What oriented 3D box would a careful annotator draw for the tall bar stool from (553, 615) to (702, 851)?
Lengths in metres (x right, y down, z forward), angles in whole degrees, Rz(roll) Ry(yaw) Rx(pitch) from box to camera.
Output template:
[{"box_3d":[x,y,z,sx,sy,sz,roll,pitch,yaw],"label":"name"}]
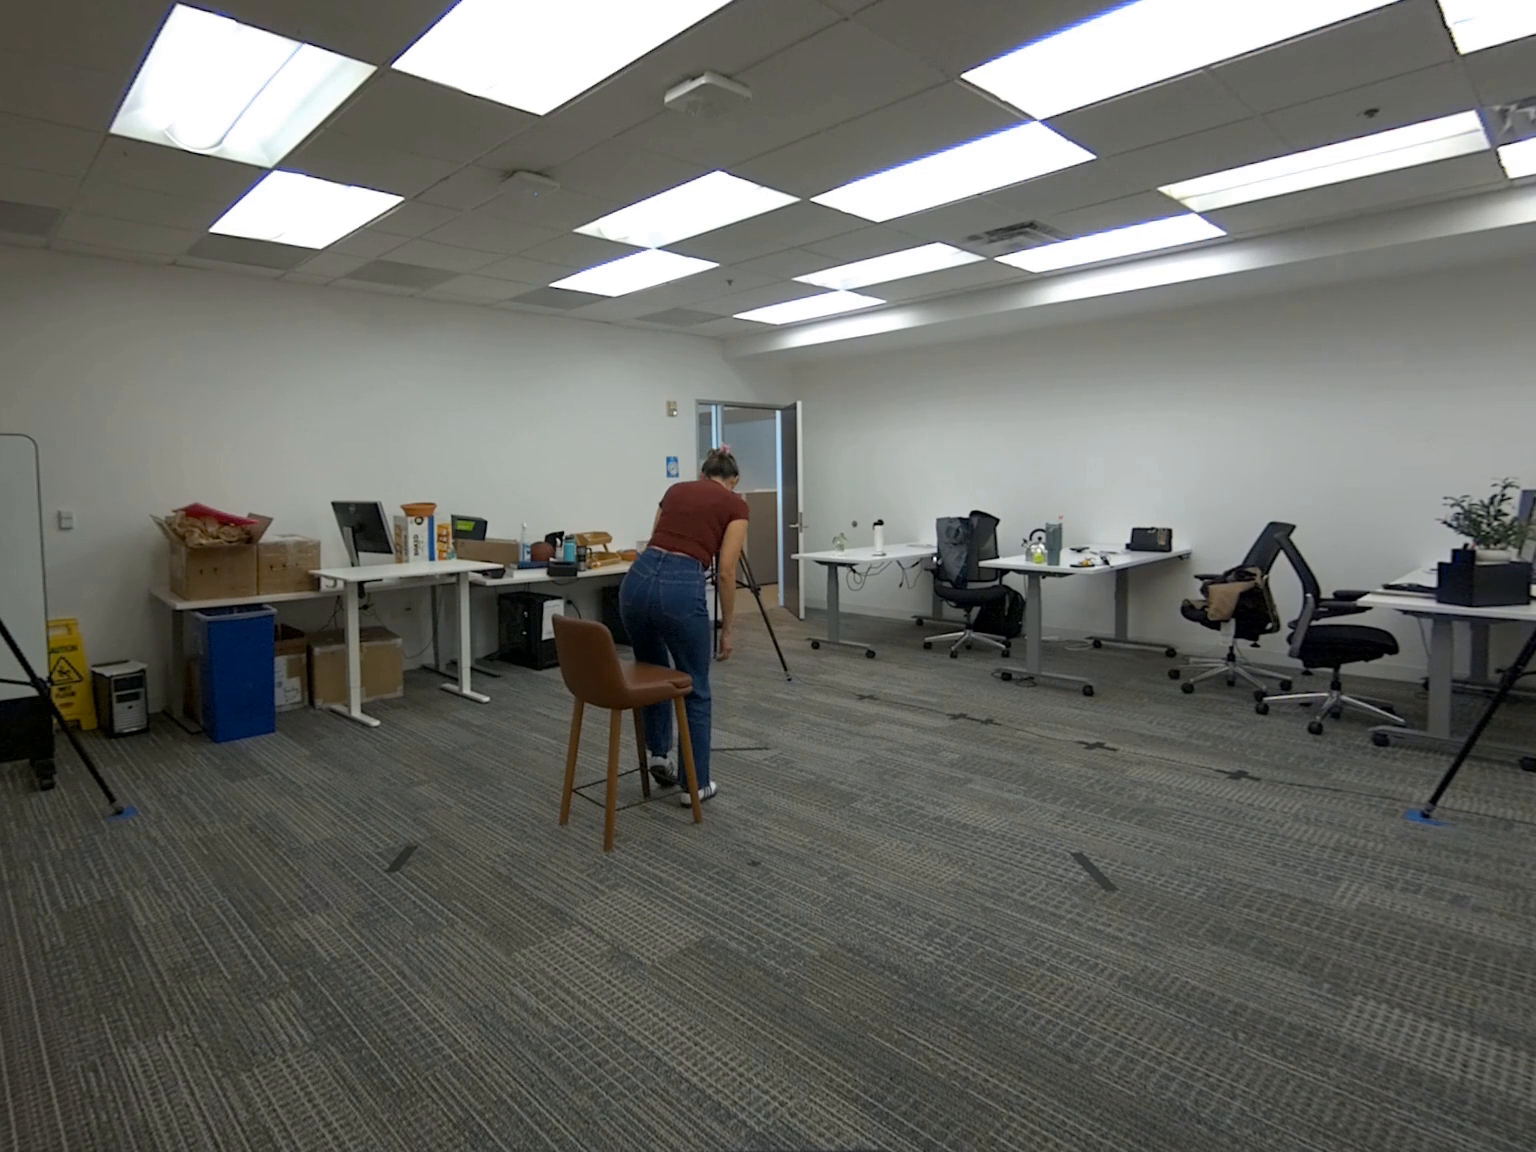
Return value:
[{"box_3d":[-0.587,0.580,3.474,0.456,0.886,0.470,-7,6,-40],"label":"tall bar stool"}]
